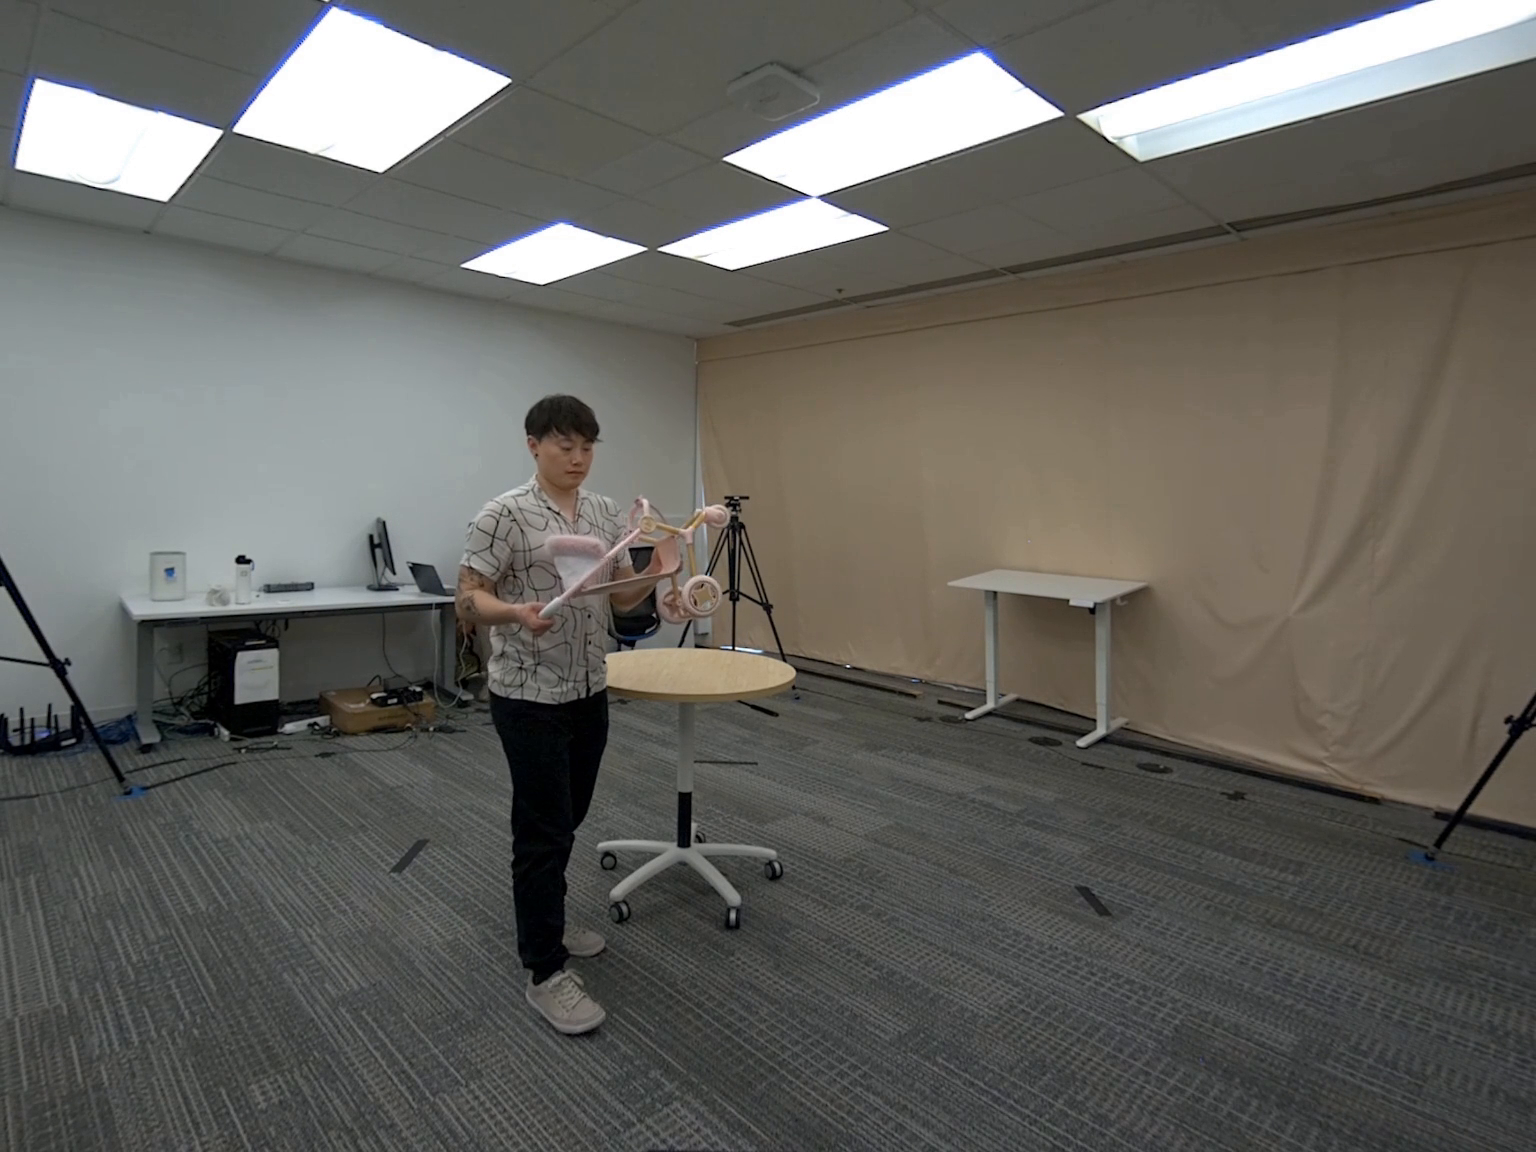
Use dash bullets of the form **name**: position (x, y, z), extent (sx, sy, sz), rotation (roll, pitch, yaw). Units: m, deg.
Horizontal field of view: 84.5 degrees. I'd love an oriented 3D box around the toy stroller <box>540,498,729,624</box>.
- **toy stroller**: position (-0.364, -0.043, 2.241), extent (0.527, 0.342, 0.284), rotation (4, -5, -17)
